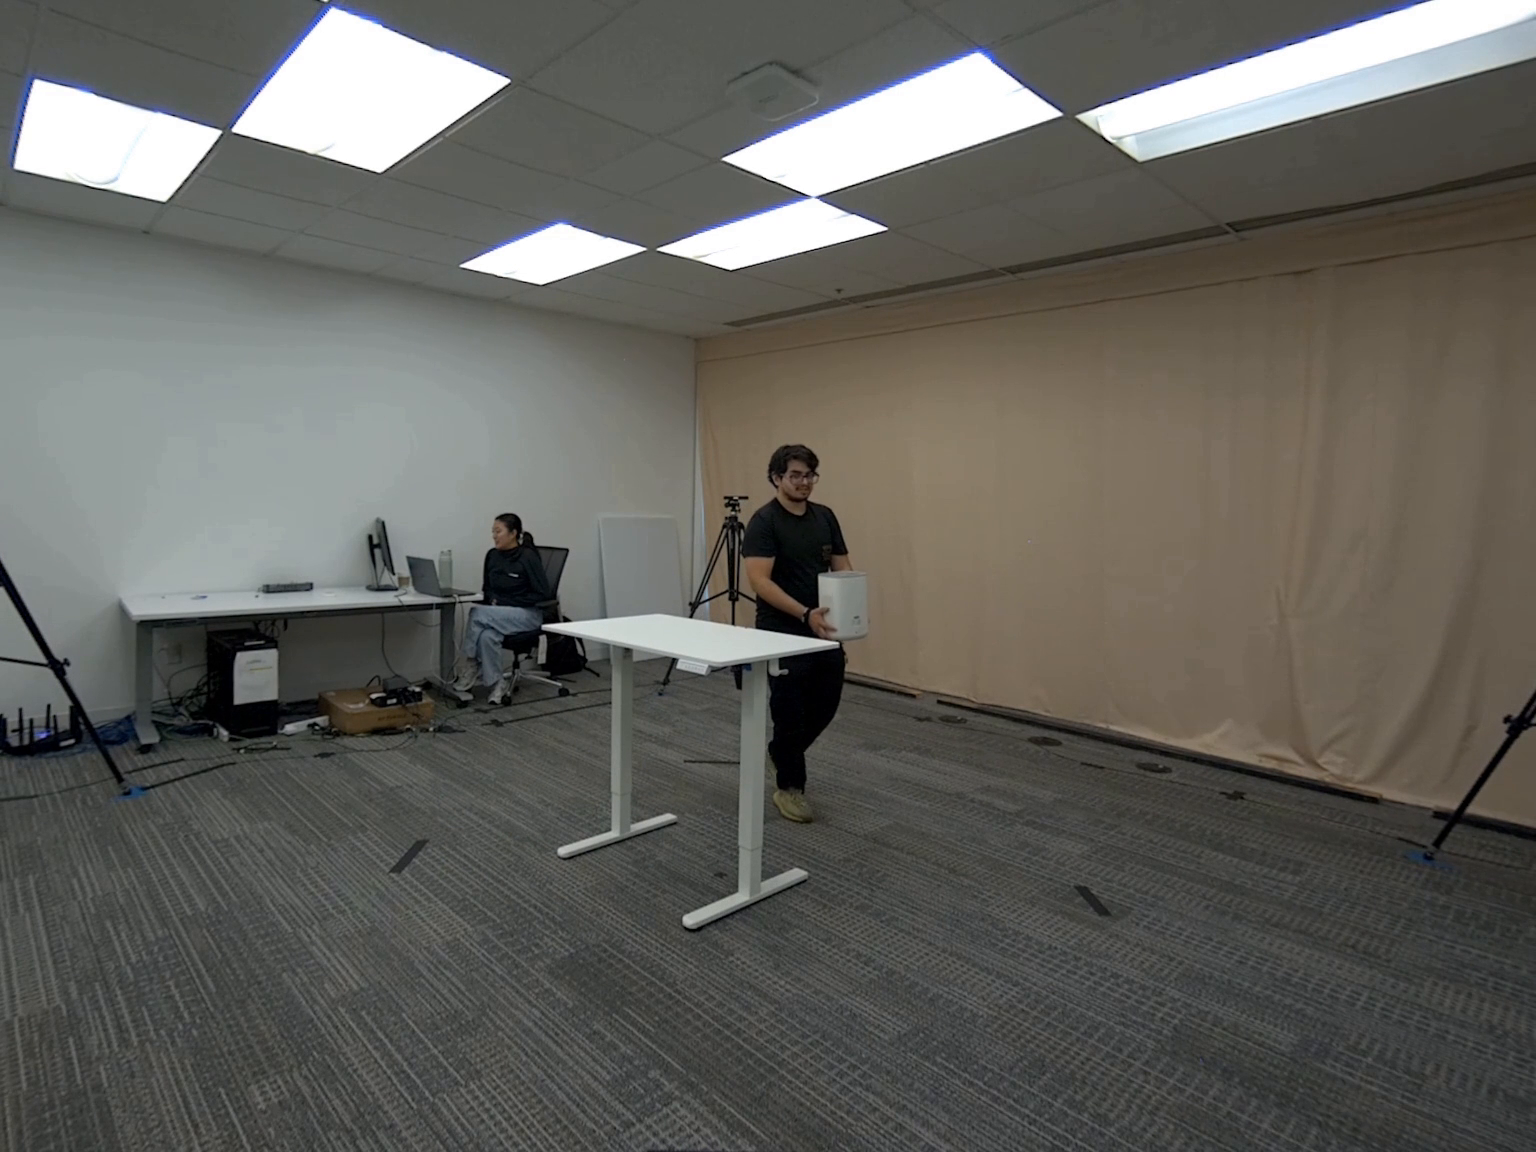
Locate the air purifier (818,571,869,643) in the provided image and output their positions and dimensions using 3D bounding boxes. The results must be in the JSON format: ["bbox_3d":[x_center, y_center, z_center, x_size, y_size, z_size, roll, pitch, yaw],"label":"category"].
[{"bbox_3d":[0.297,0.121,3.450,0.168,0.264,0.175,-5,6,-31],"label":"air purifier"}]
